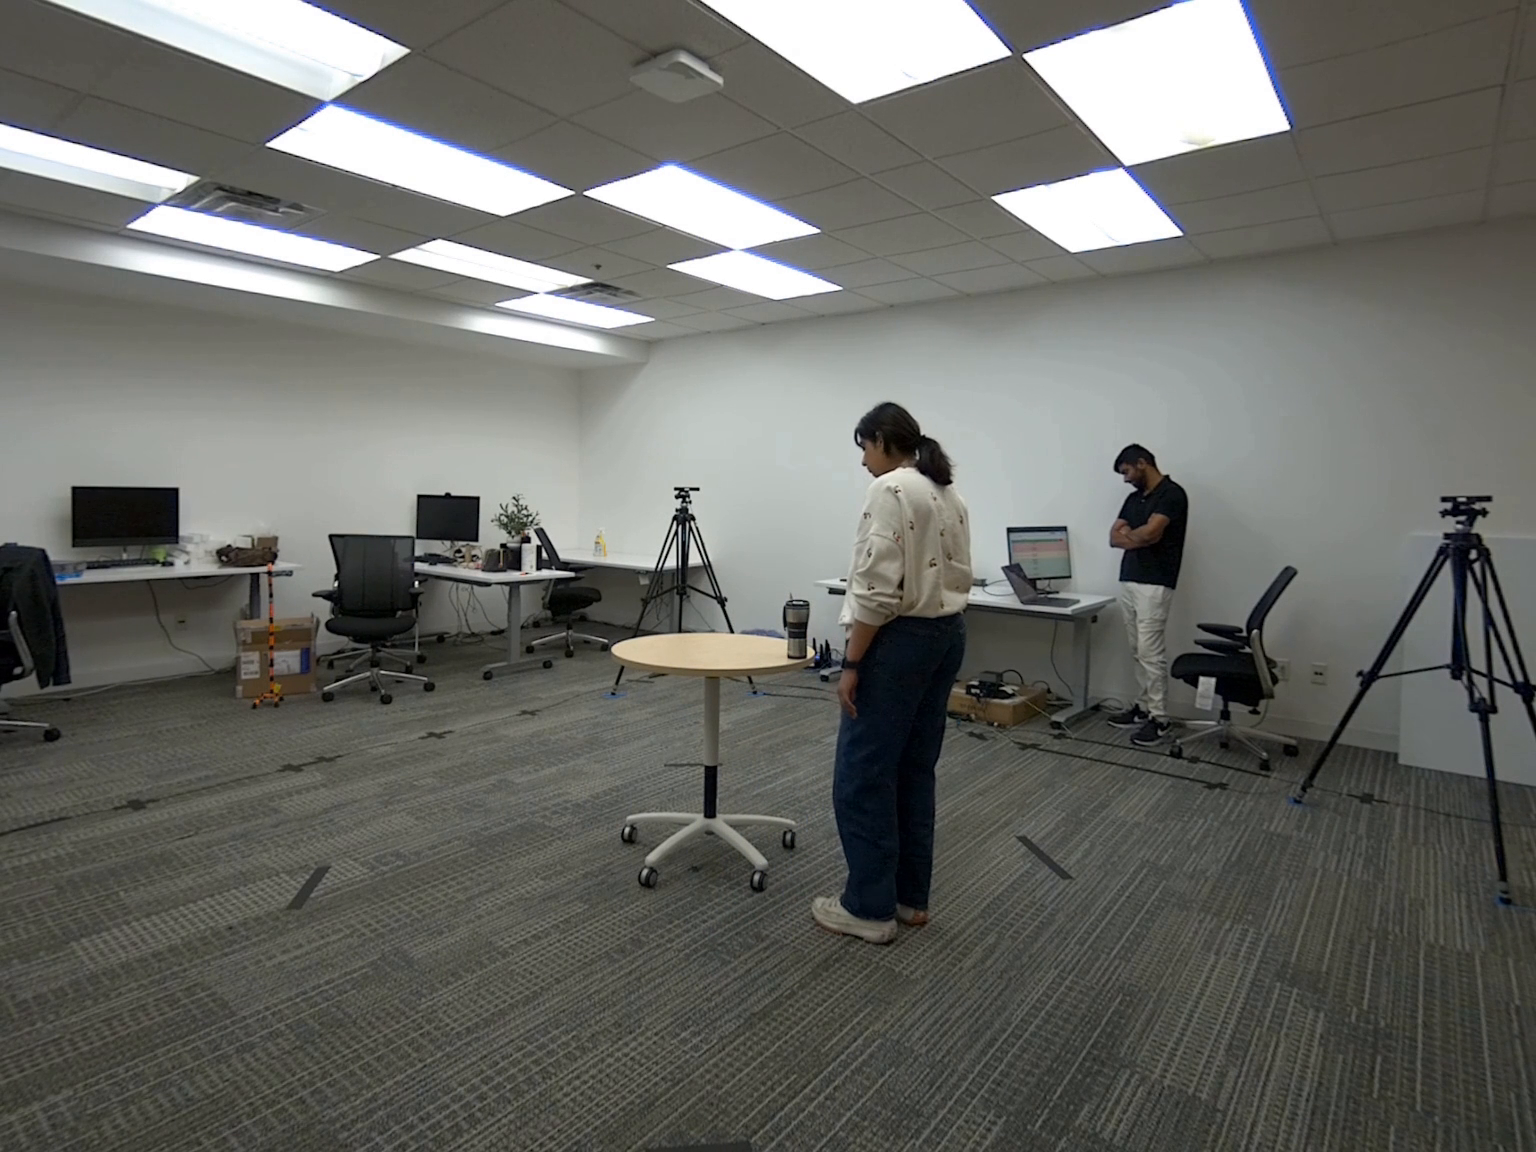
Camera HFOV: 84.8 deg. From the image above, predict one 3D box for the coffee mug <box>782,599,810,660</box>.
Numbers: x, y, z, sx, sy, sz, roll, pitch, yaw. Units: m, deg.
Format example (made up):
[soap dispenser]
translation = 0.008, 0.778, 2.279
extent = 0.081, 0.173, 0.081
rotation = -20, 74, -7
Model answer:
[coffee mug]
translation = 0.096, 0.188, 3.078
extent = 0.087, 0.202, 0.123
rotation = -3, 6, -7
